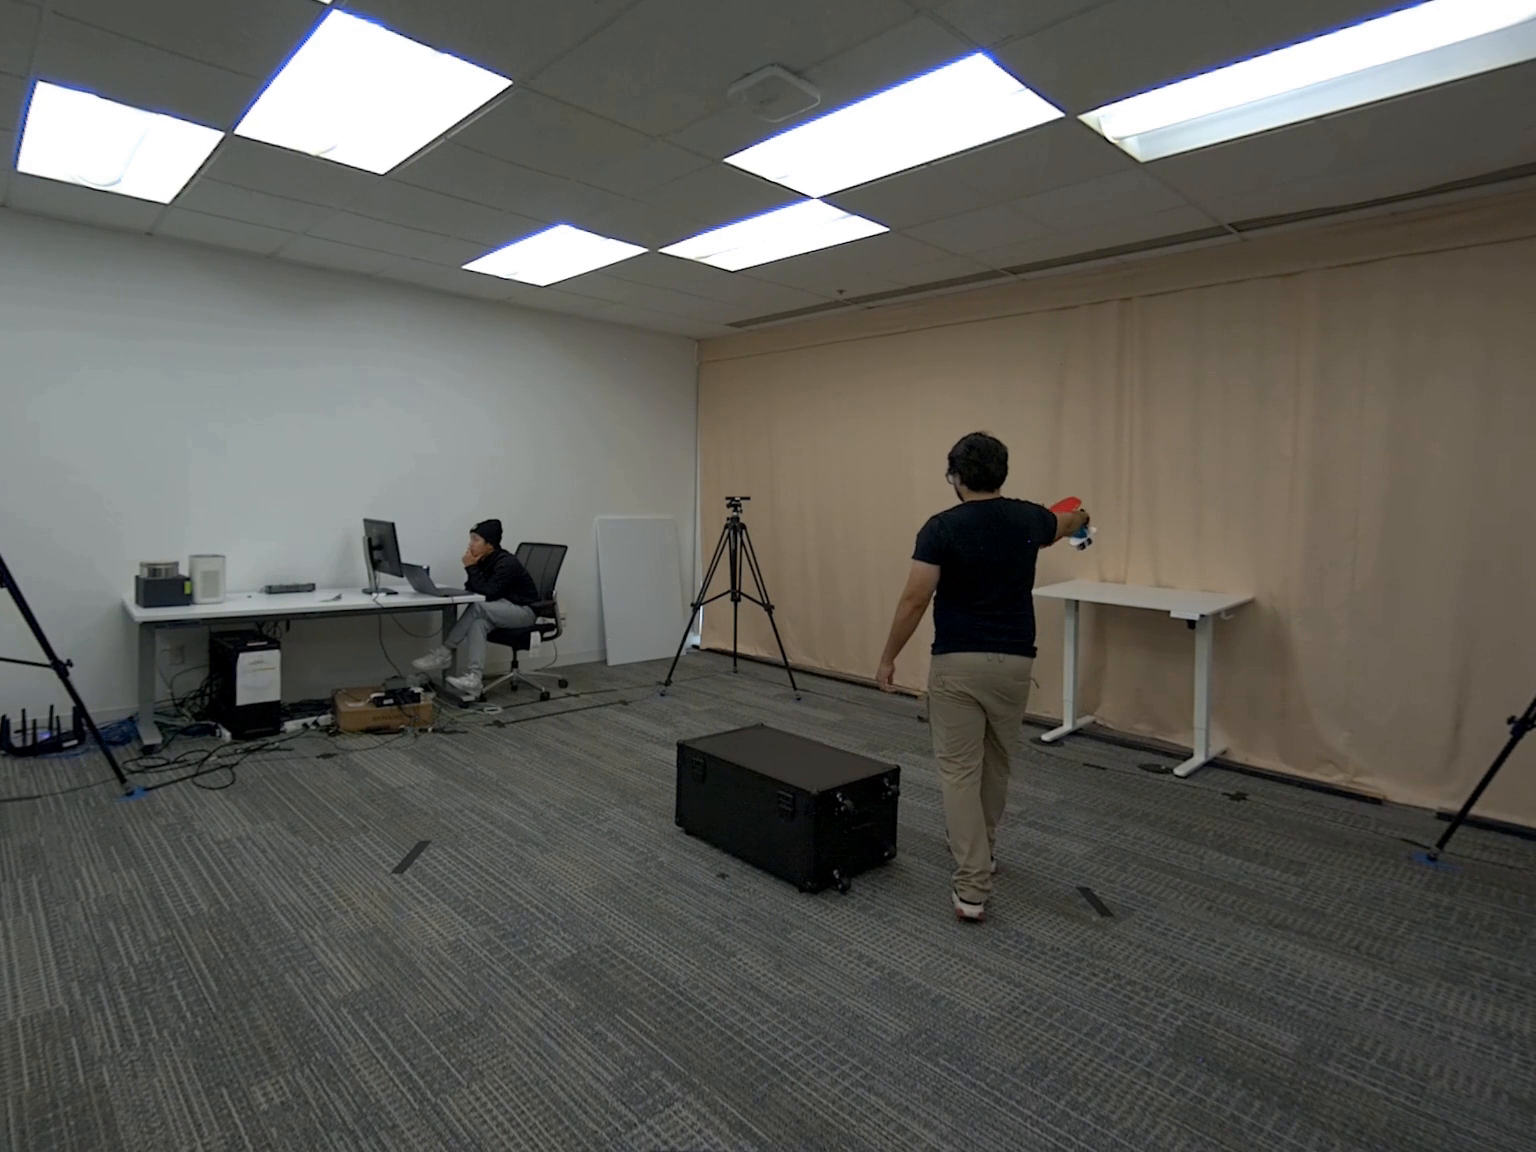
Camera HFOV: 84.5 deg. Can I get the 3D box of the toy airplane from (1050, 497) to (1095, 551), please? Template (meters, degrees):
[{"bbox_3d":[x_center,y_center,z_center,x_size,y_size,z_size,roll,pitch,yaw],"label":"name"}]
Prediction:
[{"bbox_3d":[1.260,-0.211,3.517,0.264,0.153,0.251,-12,30,46],"label":"toy airplane"}]
